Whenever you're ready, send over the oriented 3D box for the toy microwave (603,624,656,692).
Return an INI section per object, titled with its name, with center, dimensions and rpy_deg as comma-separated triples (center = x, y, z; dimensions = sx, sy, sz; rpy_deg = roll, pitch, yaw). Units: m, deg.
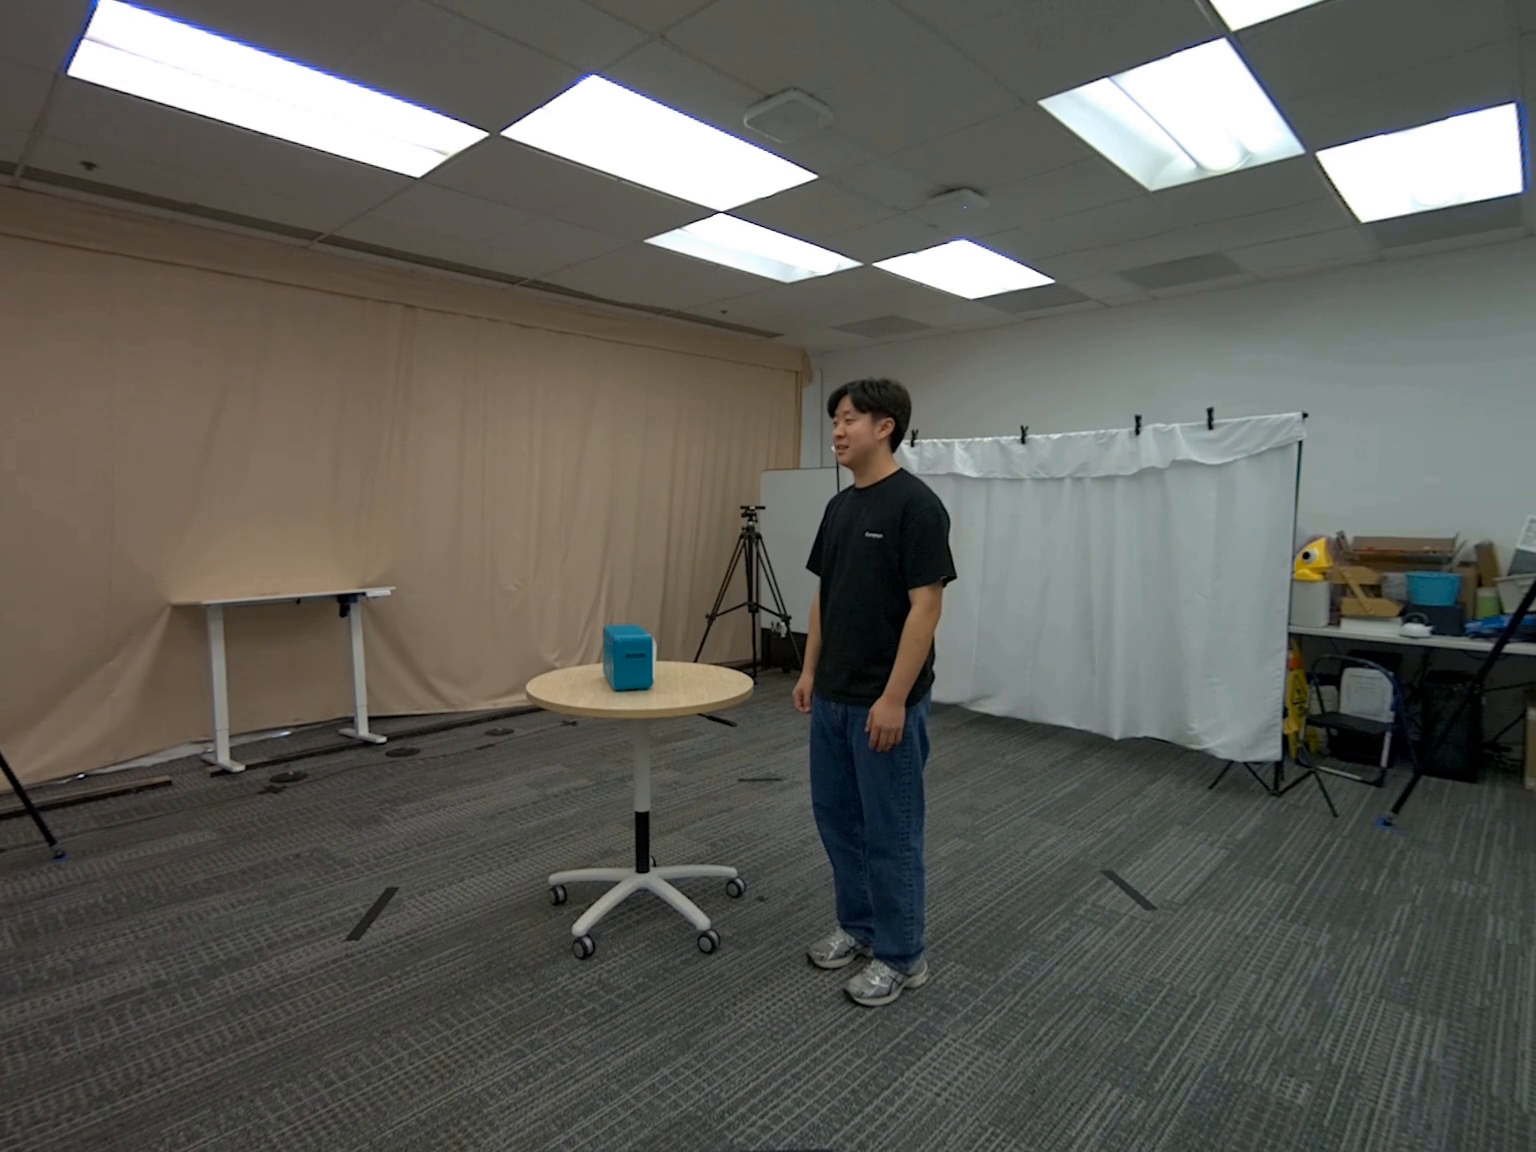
[toy microwave]
center = -0.468, 0.270, 2.840
dimensions = 0.150, 0.184, 0.291
rpy_deg = 0, 4, -15
